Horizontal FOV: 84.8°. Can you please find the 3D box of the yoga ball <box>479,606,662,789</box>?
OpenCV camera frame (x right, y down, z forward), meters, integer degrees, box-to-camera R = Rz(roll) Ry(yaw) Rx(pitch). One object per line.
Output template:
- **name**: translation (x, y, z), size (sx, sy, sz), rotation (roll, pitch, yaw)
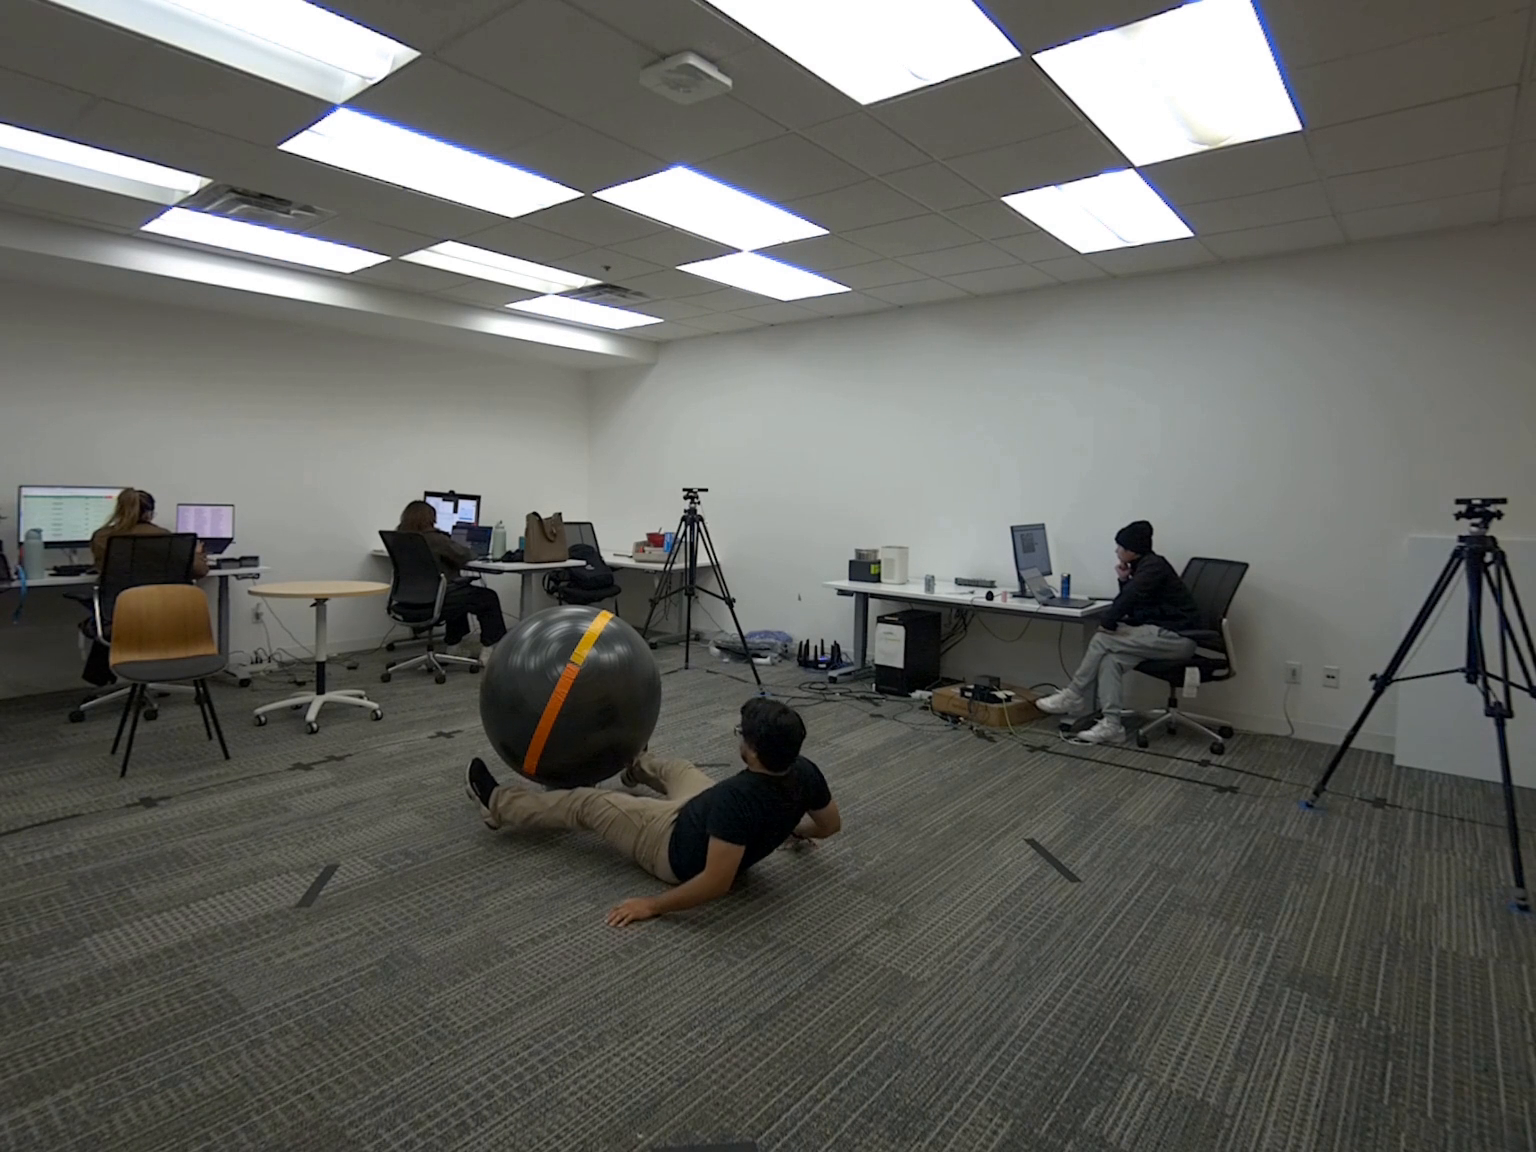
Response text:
- **yoga ball**: translation (-0.846, 0.505, 3.594), size (0.757, 0.755, 0.762), rotation (1, 4, -2)
